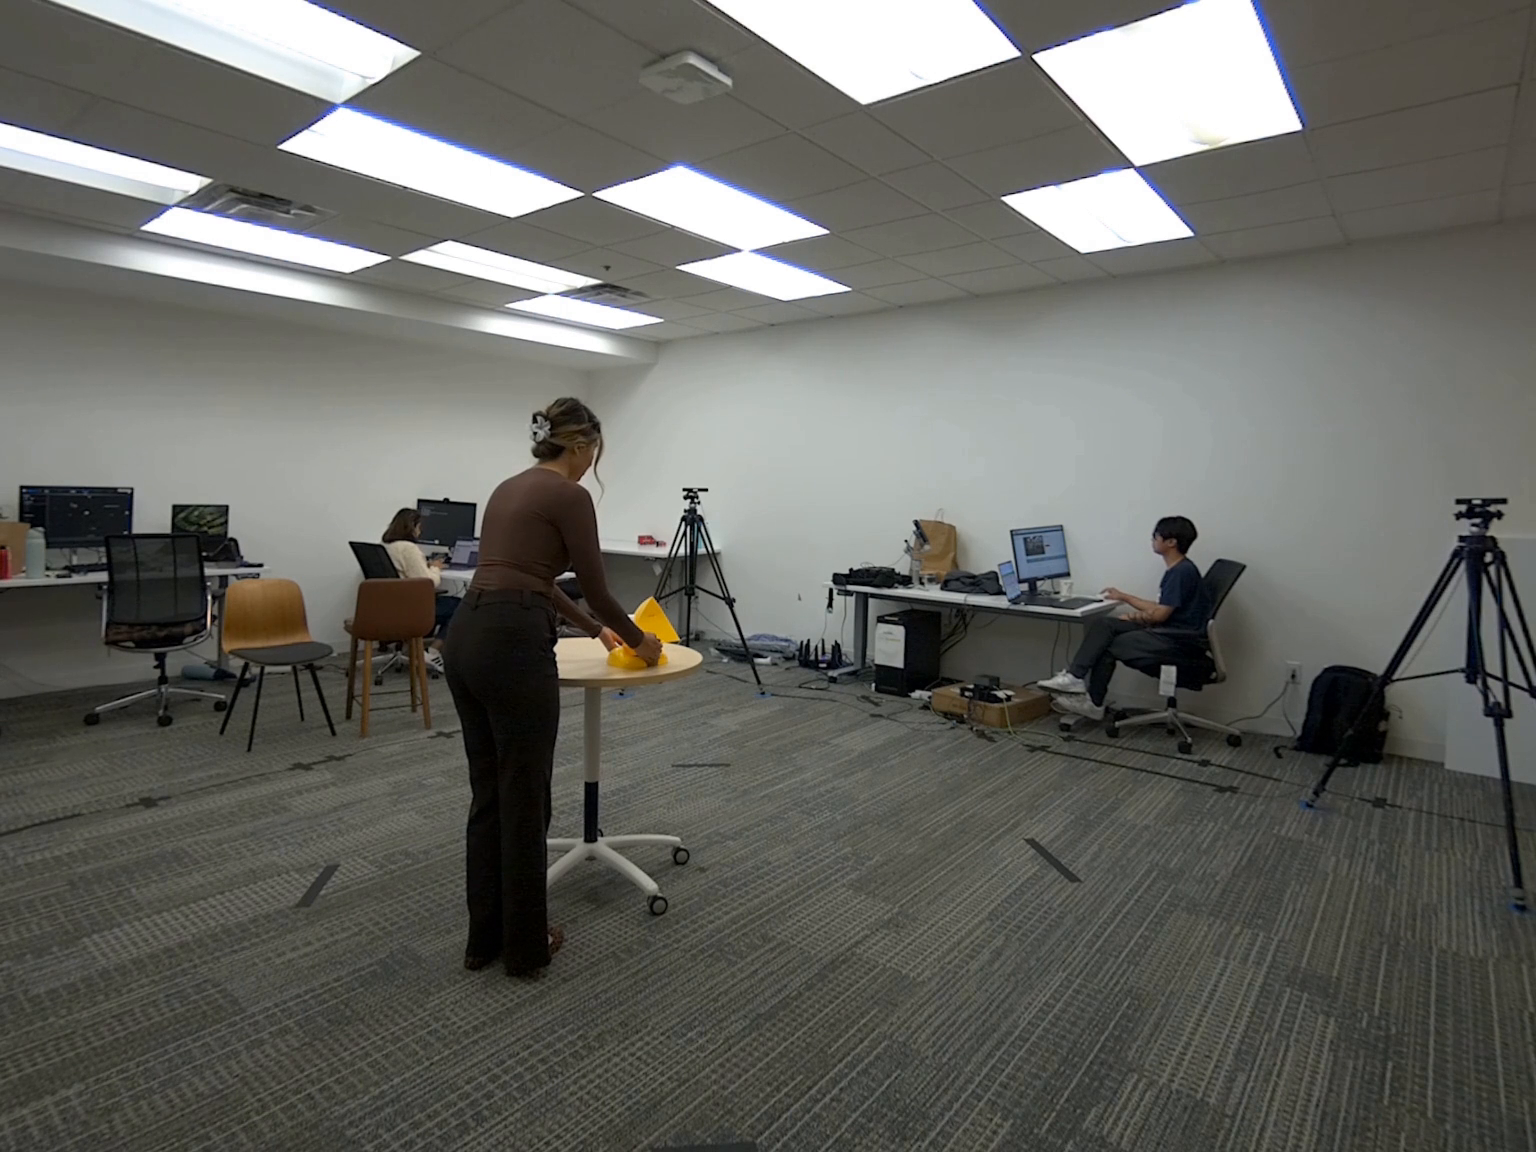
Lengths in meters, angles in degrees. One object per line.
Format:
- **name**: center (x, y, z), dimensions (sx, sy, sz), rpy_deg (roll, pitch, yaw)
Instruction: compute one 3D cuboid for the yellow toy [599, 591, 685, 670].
- **yellow toy**: center (-0.431, 0.178, 2.859), dimensions (0.198, 0.230, 0.199), rpy_deg (0, 3, -43)
